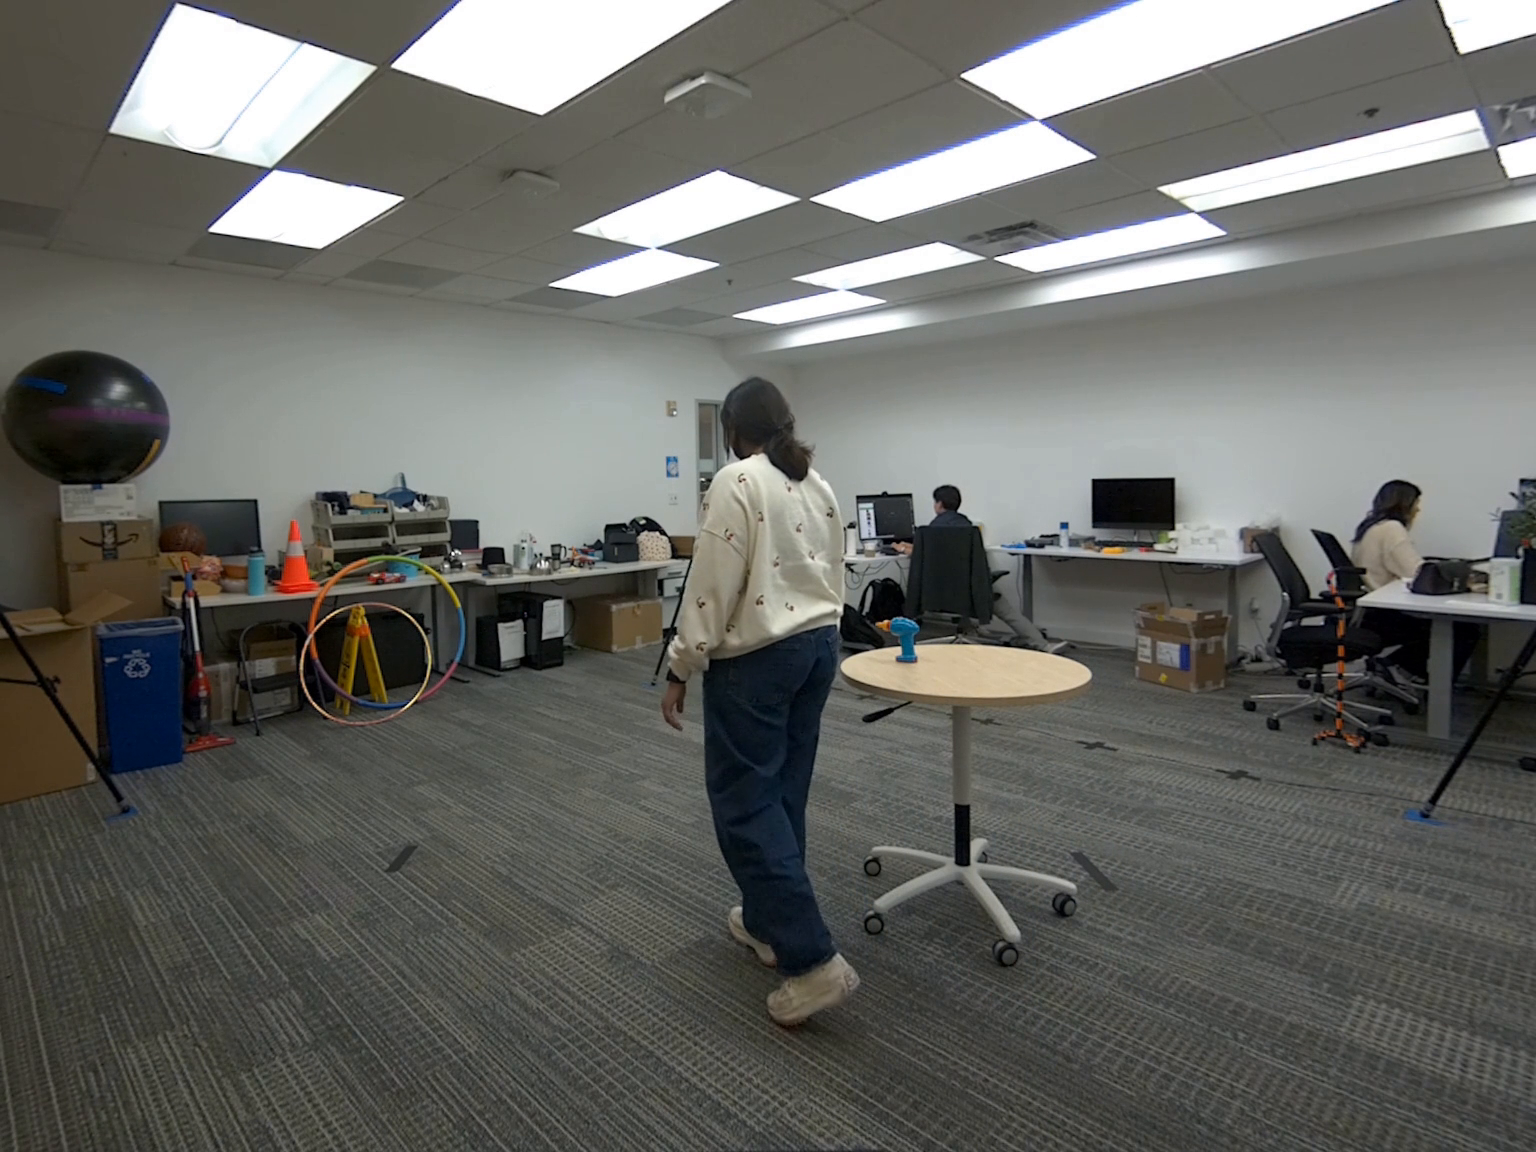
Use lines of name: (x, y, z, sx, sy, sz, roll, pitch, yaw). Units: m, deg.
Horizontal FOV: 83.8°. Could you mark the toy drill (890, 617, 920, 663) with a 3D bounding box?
toy drill: (0.435, 0.211, 2.863, 0.175, 0.145, 0.059, 4, 5, 44)
